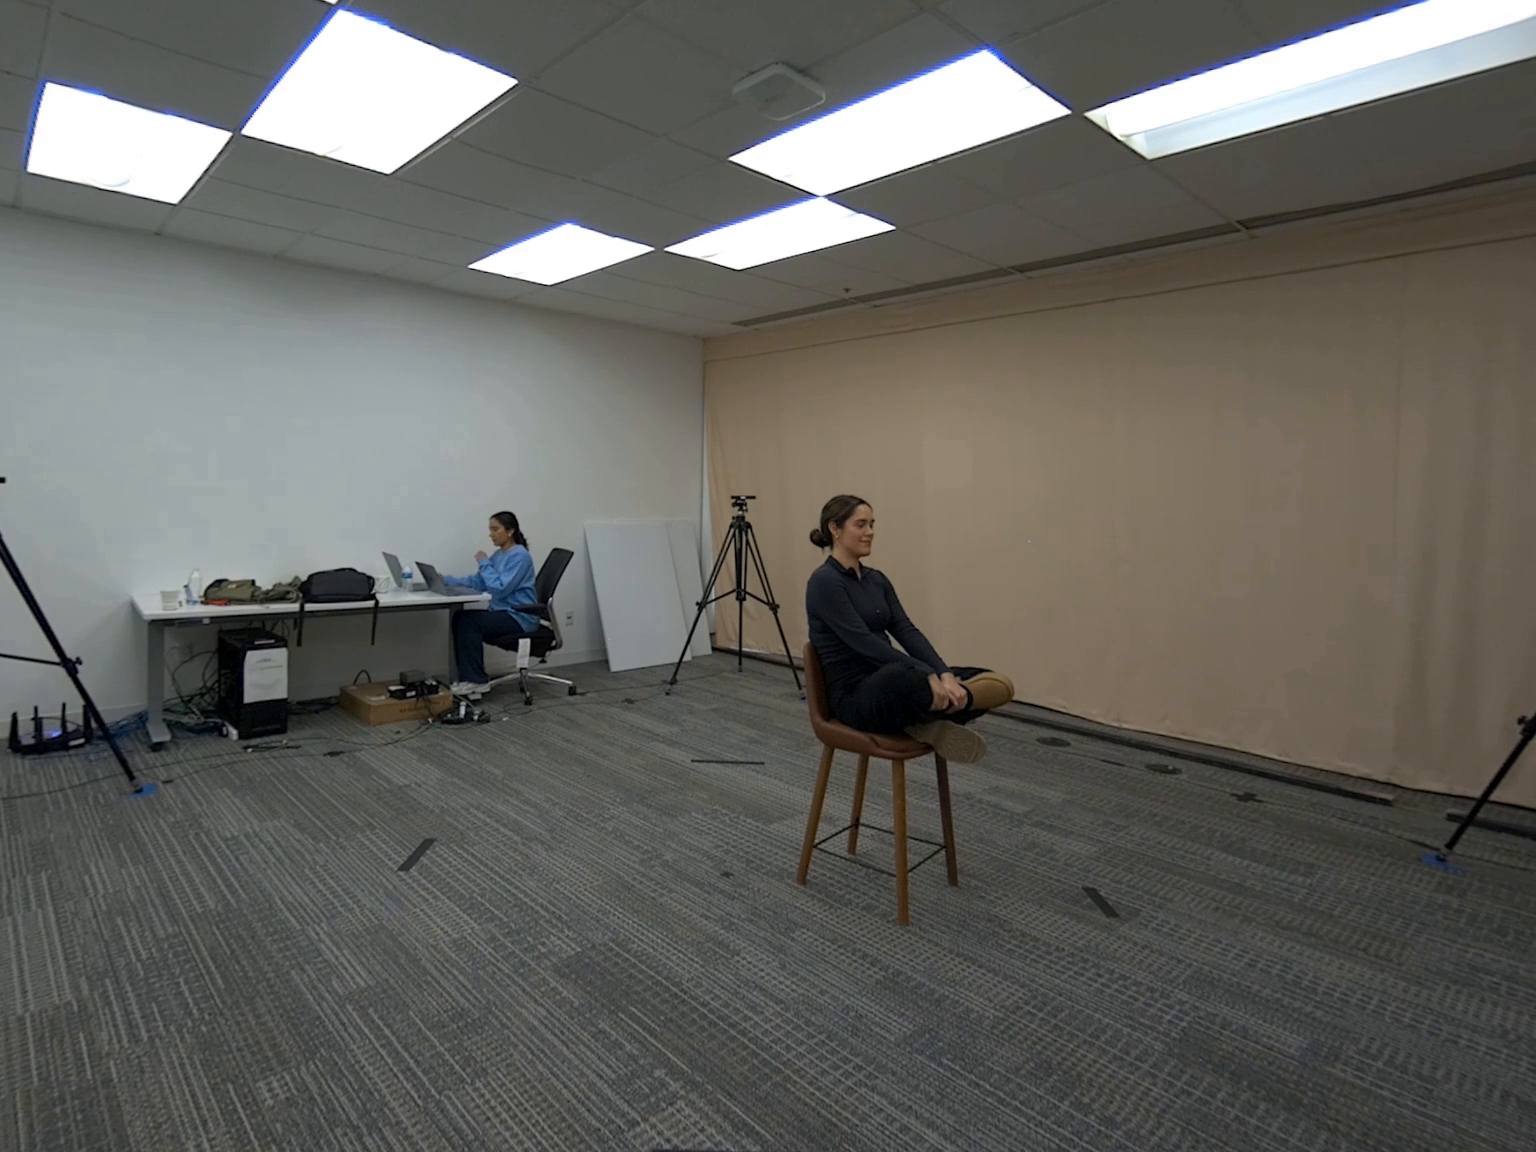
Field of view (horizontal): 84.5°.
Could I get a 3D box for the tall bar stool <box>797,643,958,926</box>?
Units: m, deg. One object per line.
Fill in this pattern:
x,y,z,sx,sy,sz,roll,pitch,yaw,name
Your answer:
0.393,0.687,3.035,0.479,0.888,0.446,2,2,38,tall bar stool
